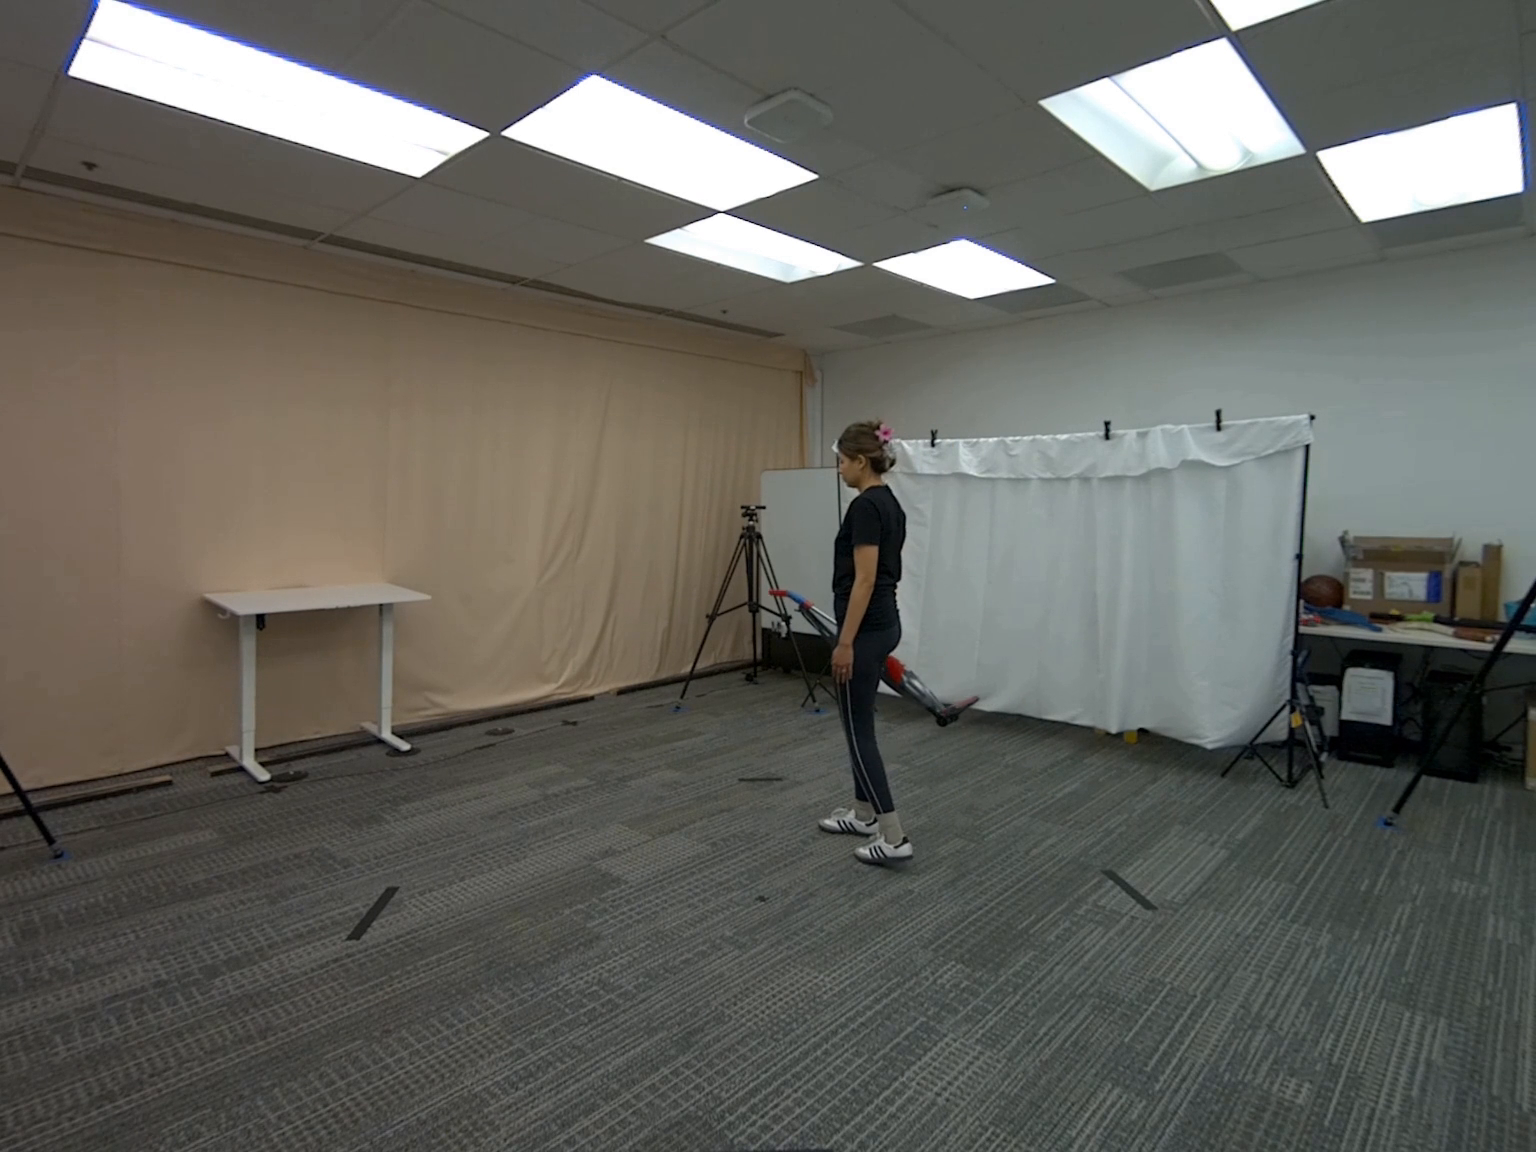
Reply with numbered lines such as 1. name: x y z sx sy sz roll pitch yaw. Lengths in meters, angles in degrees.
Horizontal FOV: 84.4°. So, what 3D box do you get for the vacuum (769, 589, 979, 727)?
1. vacuum: 0.422 0.328 3.797 1.084 0.143 0.245 32 24 30
